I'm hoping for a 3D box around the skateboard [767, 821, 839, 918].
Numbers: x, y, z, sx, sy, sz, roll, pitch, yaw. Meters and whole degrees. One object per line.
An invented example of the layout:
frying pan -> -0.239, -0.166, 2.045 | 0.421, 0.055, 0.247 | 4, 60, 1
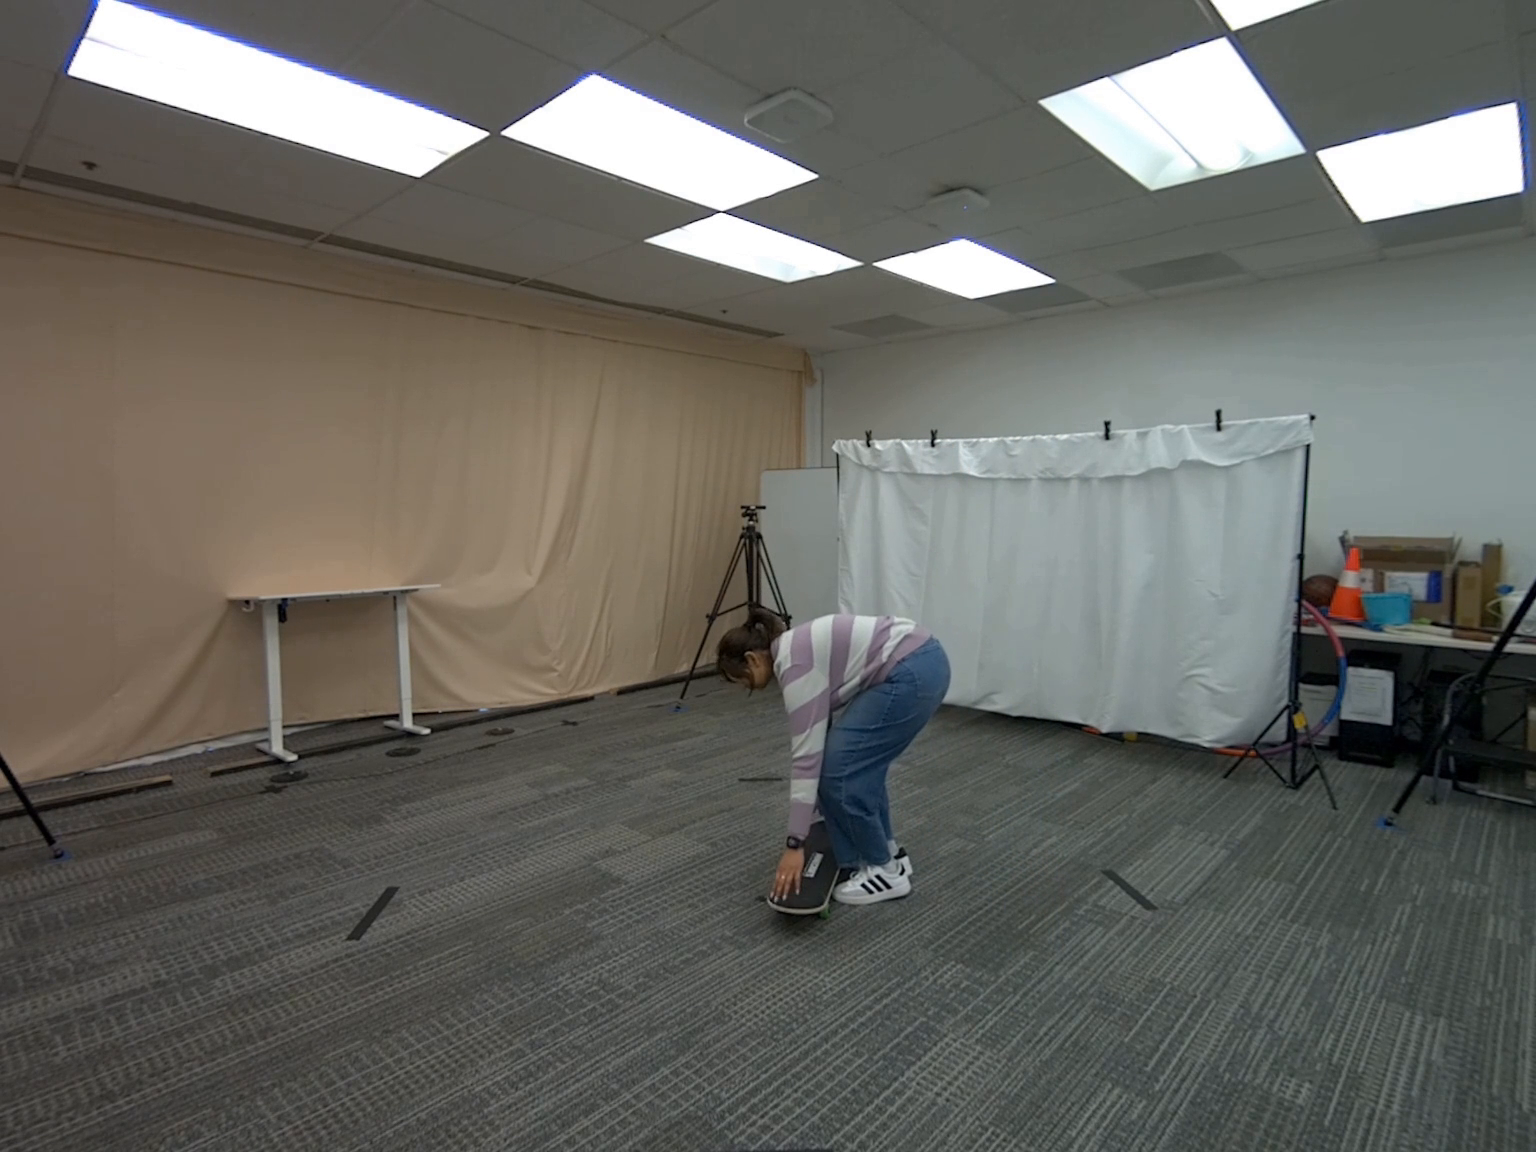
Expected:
skateboard -> 0.166, 1.083, 3.049 | 0.197, 0.110, 0.774 | 1, 5, 14
